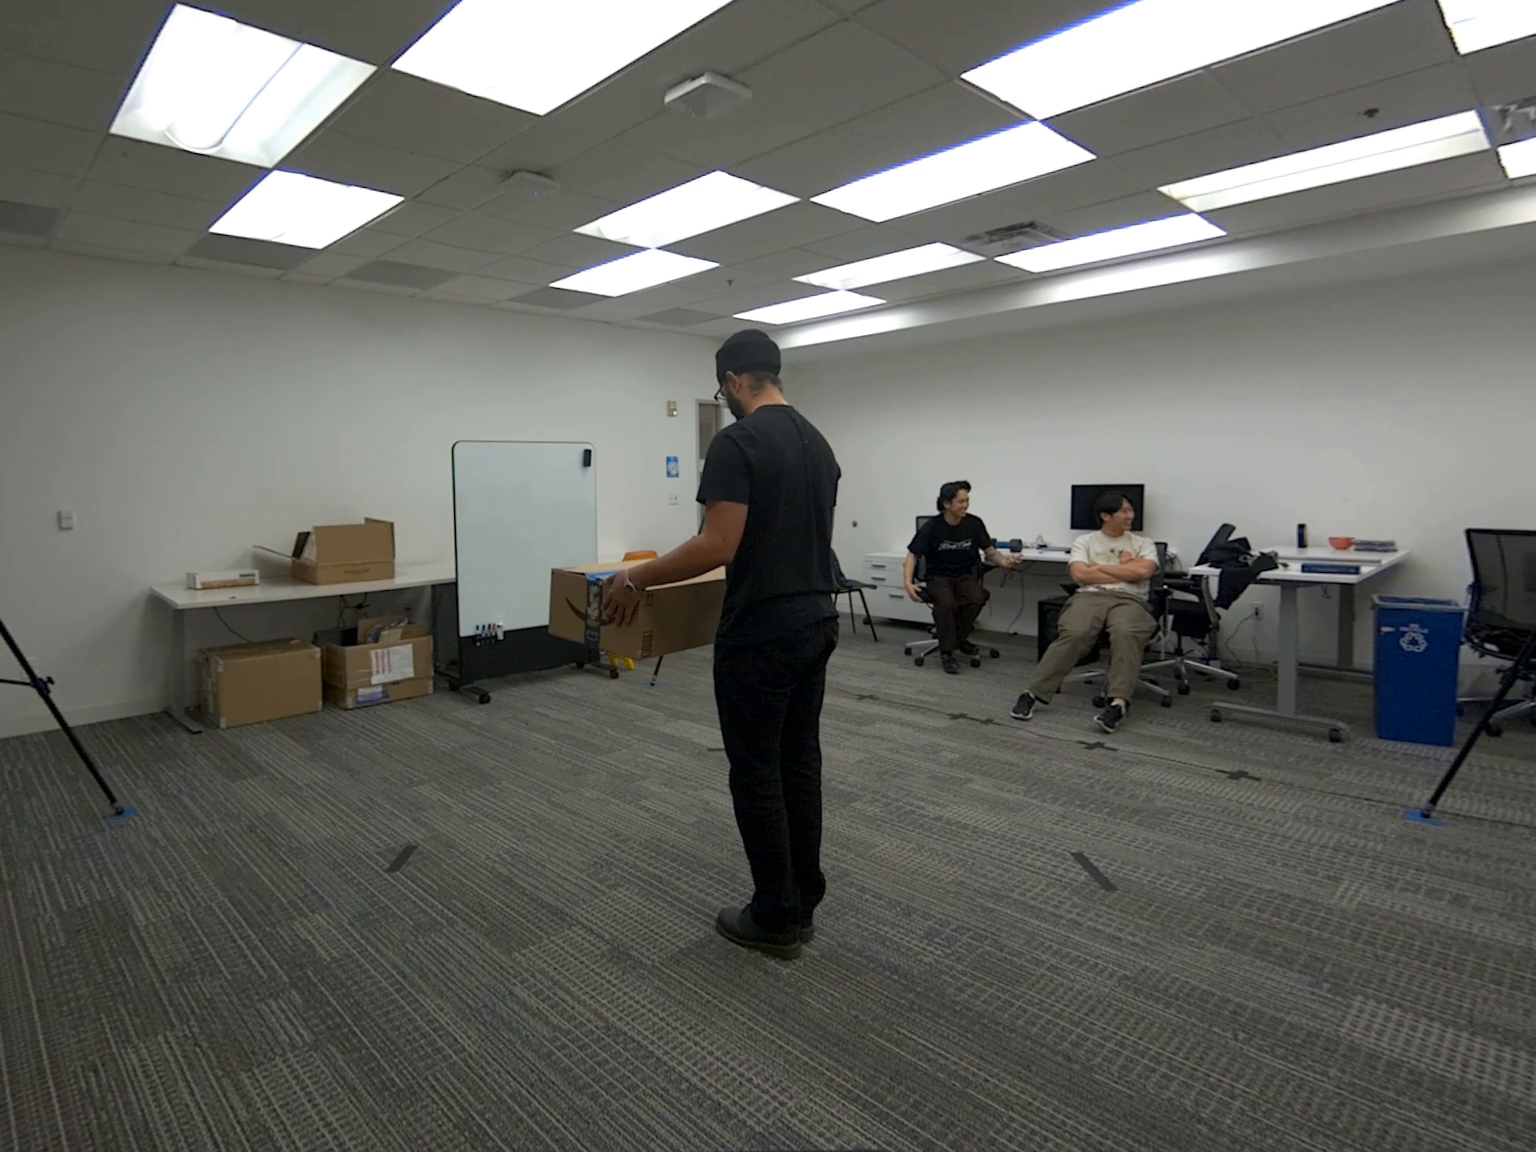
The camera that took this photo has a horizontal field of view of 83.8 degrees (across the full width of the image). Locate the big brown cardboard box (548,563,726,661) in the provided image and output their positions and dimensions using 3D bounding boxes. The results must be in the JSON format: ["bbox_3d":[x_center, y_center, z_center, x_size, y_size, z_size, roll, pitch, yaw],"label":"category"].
[{"bbox_3d":[-0.369,0.084,2.820,0.431,0.232,0.574,10,10,37],"label":"big brown cardboard box"}]
